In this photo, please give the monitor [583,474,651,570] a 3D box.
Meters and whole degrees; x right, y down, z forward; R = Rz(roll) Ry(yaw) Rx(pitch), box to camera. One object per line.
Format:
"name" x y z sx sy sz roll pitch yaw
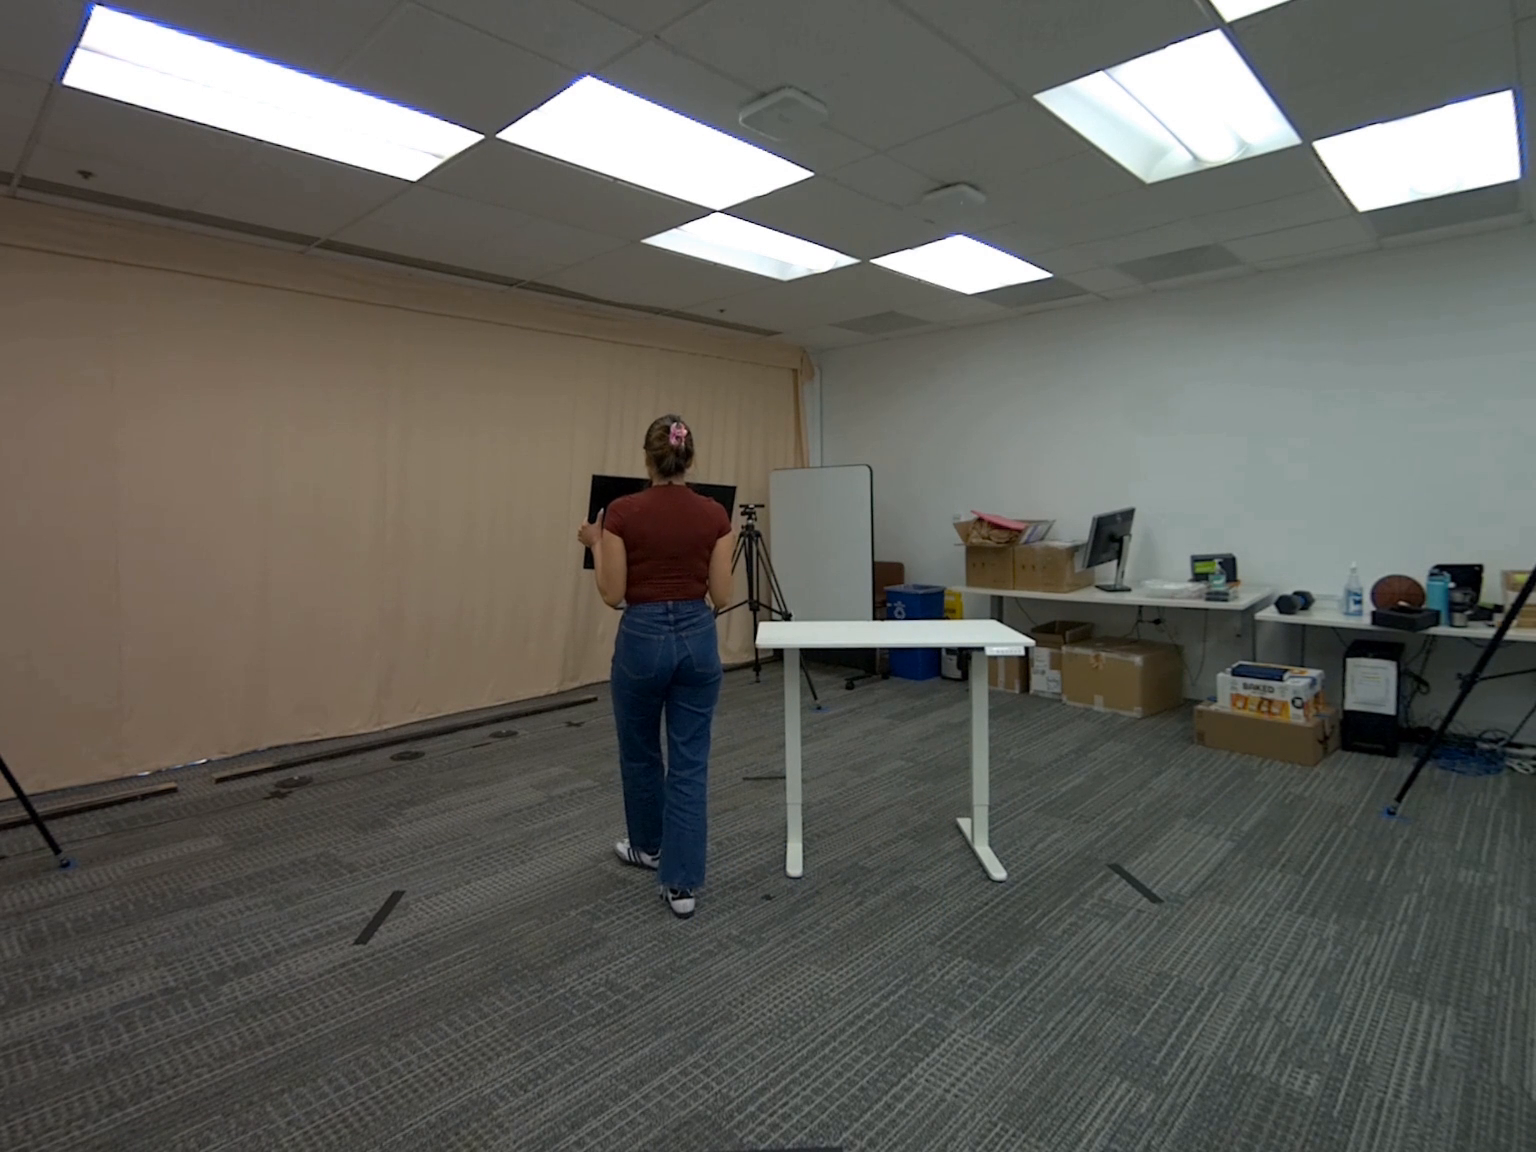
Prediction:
"monitor" -0.423 -0.126 3.163 0.528 0.518 0.193 2 34 -20
